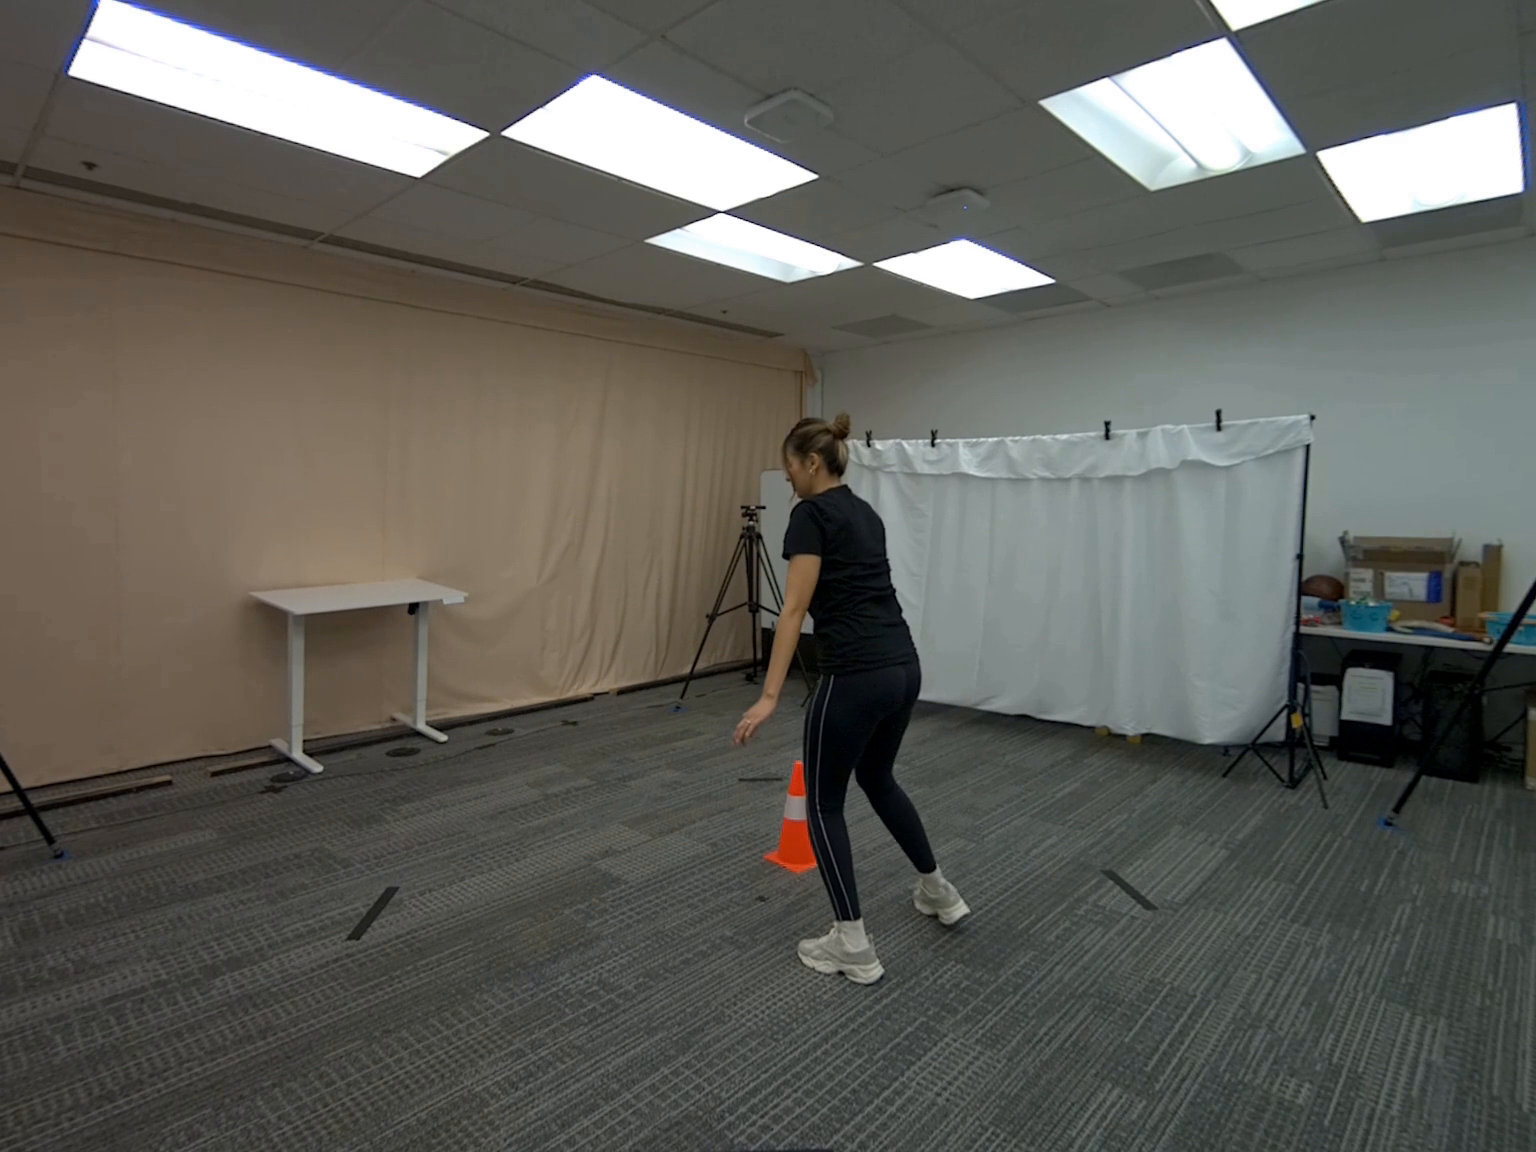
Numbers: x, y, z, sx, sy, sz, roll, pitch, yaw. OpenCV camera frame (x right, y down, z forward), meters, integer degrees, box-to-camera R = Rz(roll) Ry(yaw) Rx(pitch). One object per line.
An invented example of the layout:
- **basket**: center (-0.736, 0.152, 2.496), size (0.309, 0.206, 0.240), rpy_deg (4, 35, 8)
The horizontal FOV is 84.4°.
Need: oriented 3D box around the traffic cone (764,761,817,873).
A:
- **traffic cone**: center (0.115, 0.930, 3.313), size (0.197, 0.383, 0.212), rpy_deg (-2, 4, -39)
